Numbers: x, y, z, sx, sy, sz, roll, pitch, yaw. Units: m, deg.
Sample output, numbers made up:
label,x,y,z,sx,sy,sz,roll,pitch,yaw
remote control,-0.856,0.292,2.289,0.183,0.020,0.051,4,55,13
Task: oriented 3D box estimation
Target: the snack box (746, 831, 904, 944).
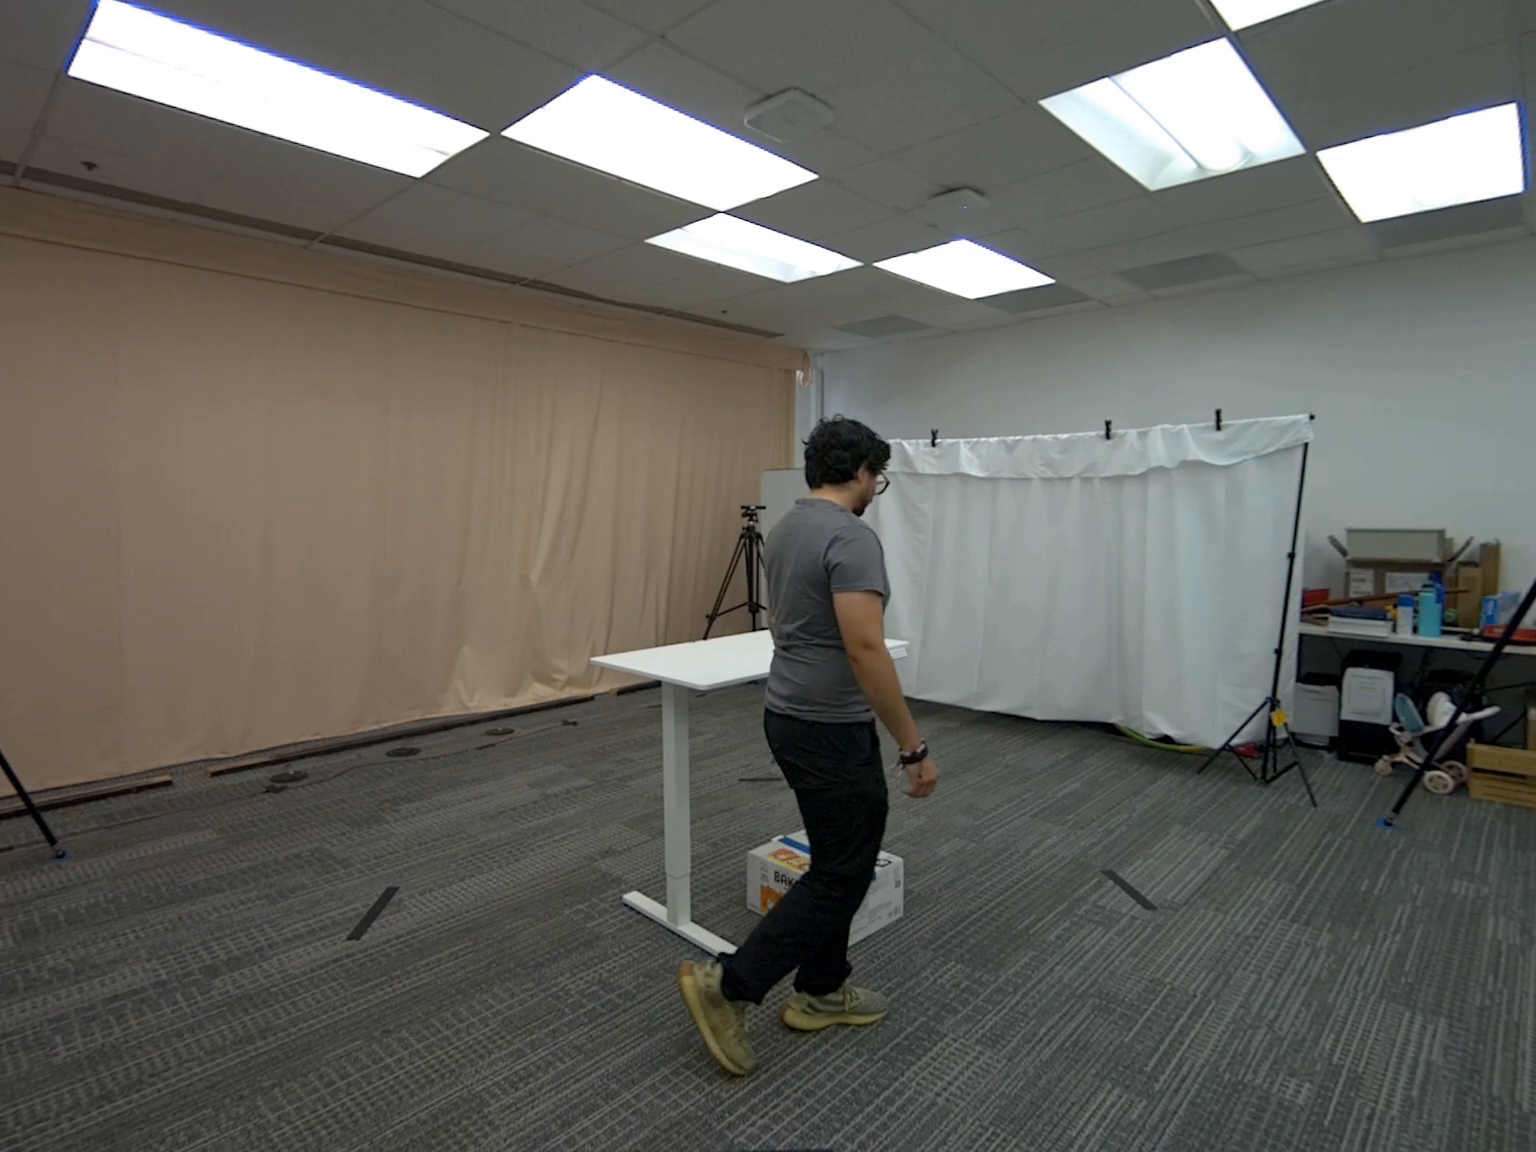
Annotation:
label,x,y,z,sx,sy,sz,roll,pitch,yaw
snack box,0.197,1.053,2.867,0.330,0.205,0.419,-5,6,-45
